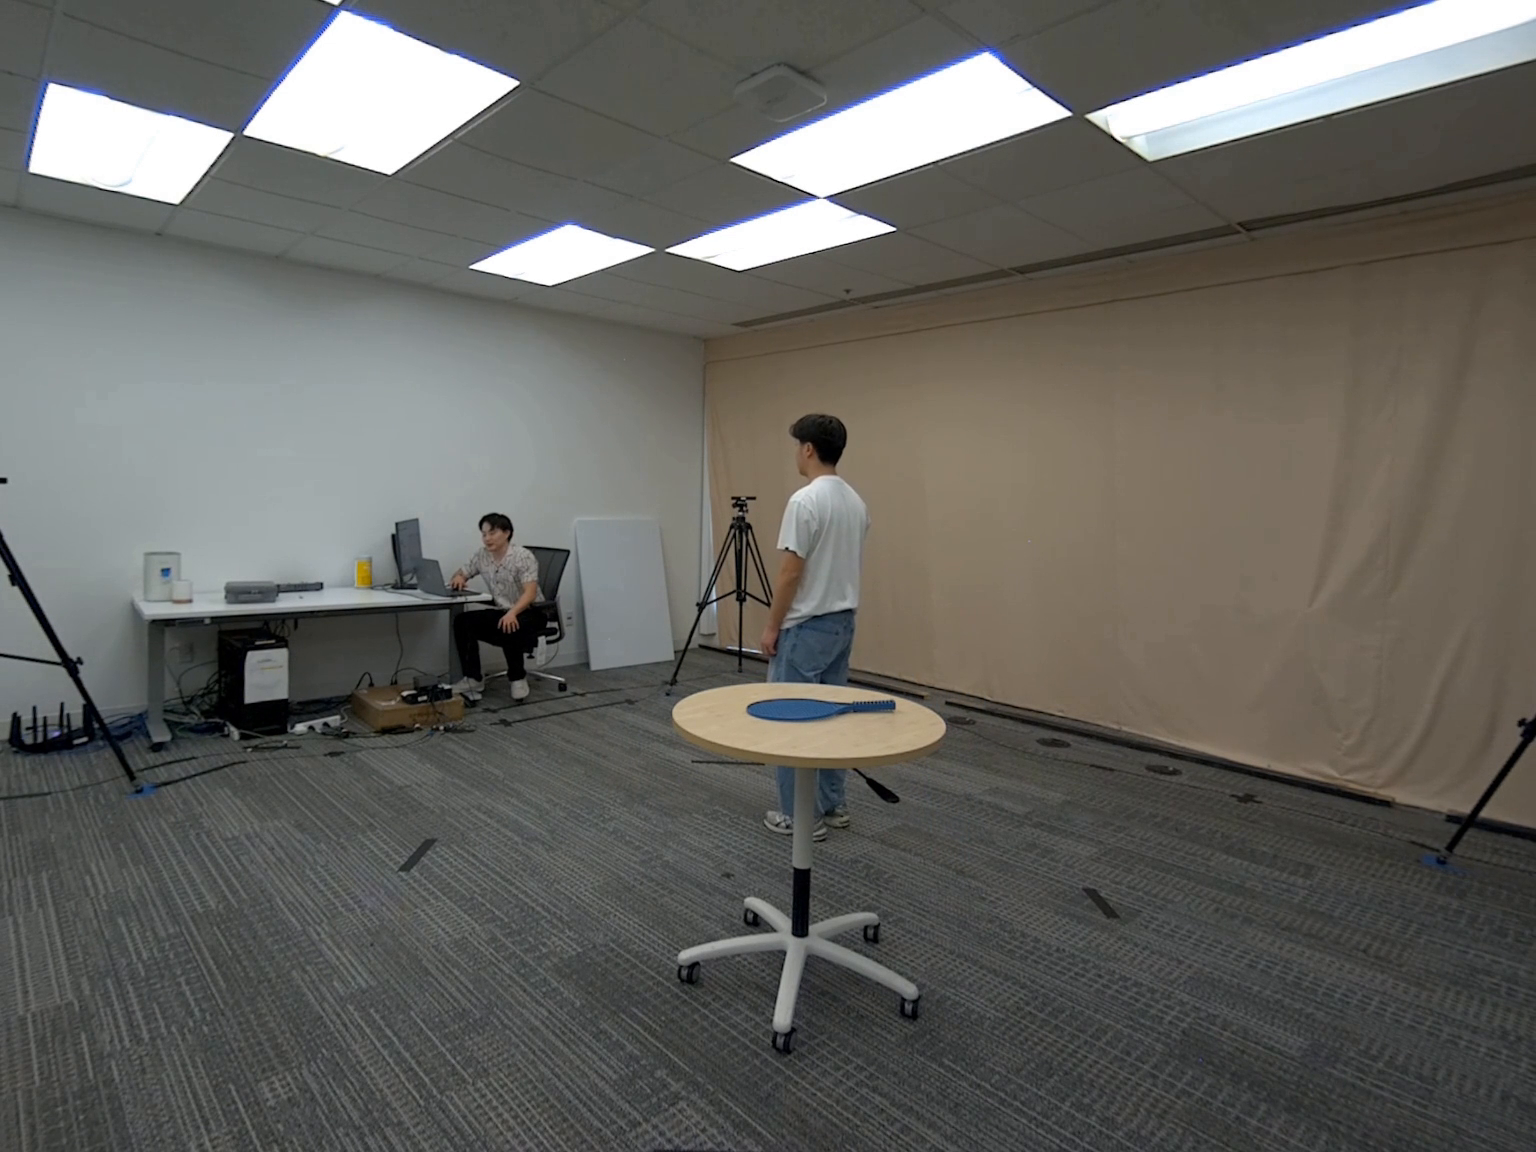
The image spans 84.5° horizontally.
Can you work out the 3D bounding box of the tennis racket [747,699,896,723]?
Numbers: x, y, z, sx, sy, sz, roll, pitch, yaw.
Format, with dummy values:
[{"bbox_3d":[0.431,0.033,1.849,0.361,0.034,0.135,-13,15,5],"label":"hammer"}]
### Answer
[{"bbox_3d":[0.155,0.382,2.415,0.430,0.031,0.216,-1,6,-9],"label":"tennis racket"}]
